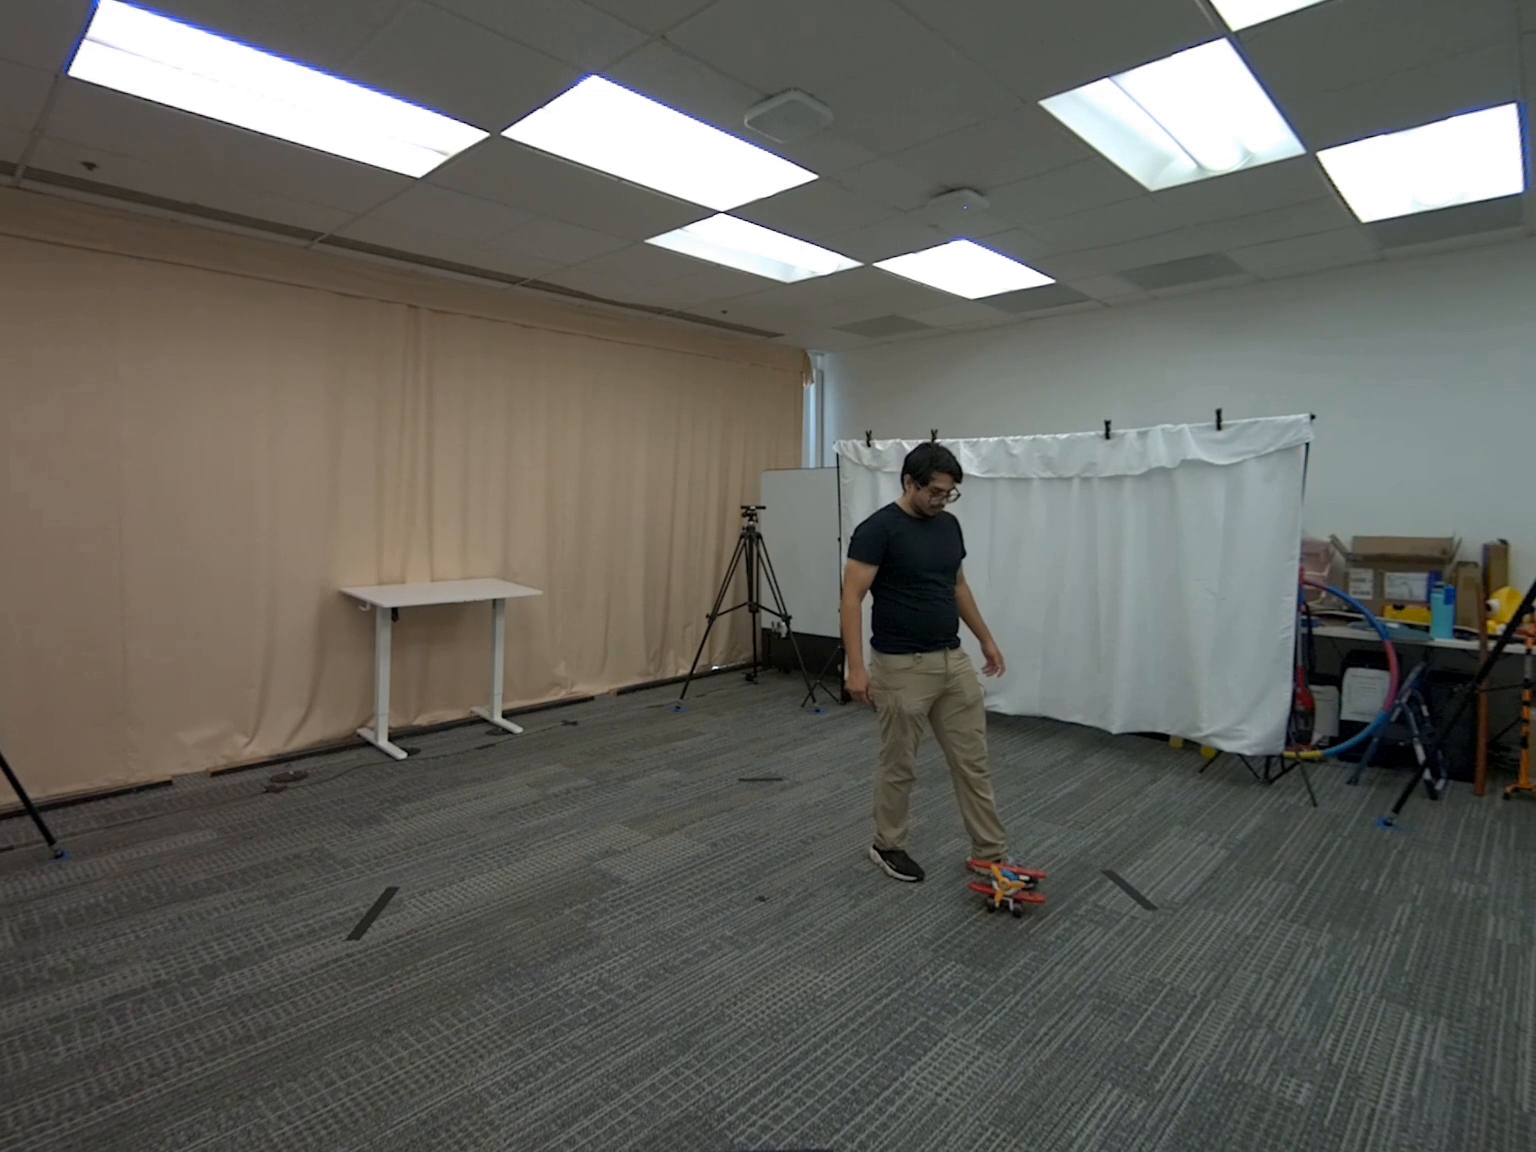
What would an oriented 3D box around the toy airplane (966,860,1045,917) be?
[{"bbox_3d":[0.826,1.071,2.953,0.249,0.156,0.262,1,7,-7],"label":"toy airplane"}]
